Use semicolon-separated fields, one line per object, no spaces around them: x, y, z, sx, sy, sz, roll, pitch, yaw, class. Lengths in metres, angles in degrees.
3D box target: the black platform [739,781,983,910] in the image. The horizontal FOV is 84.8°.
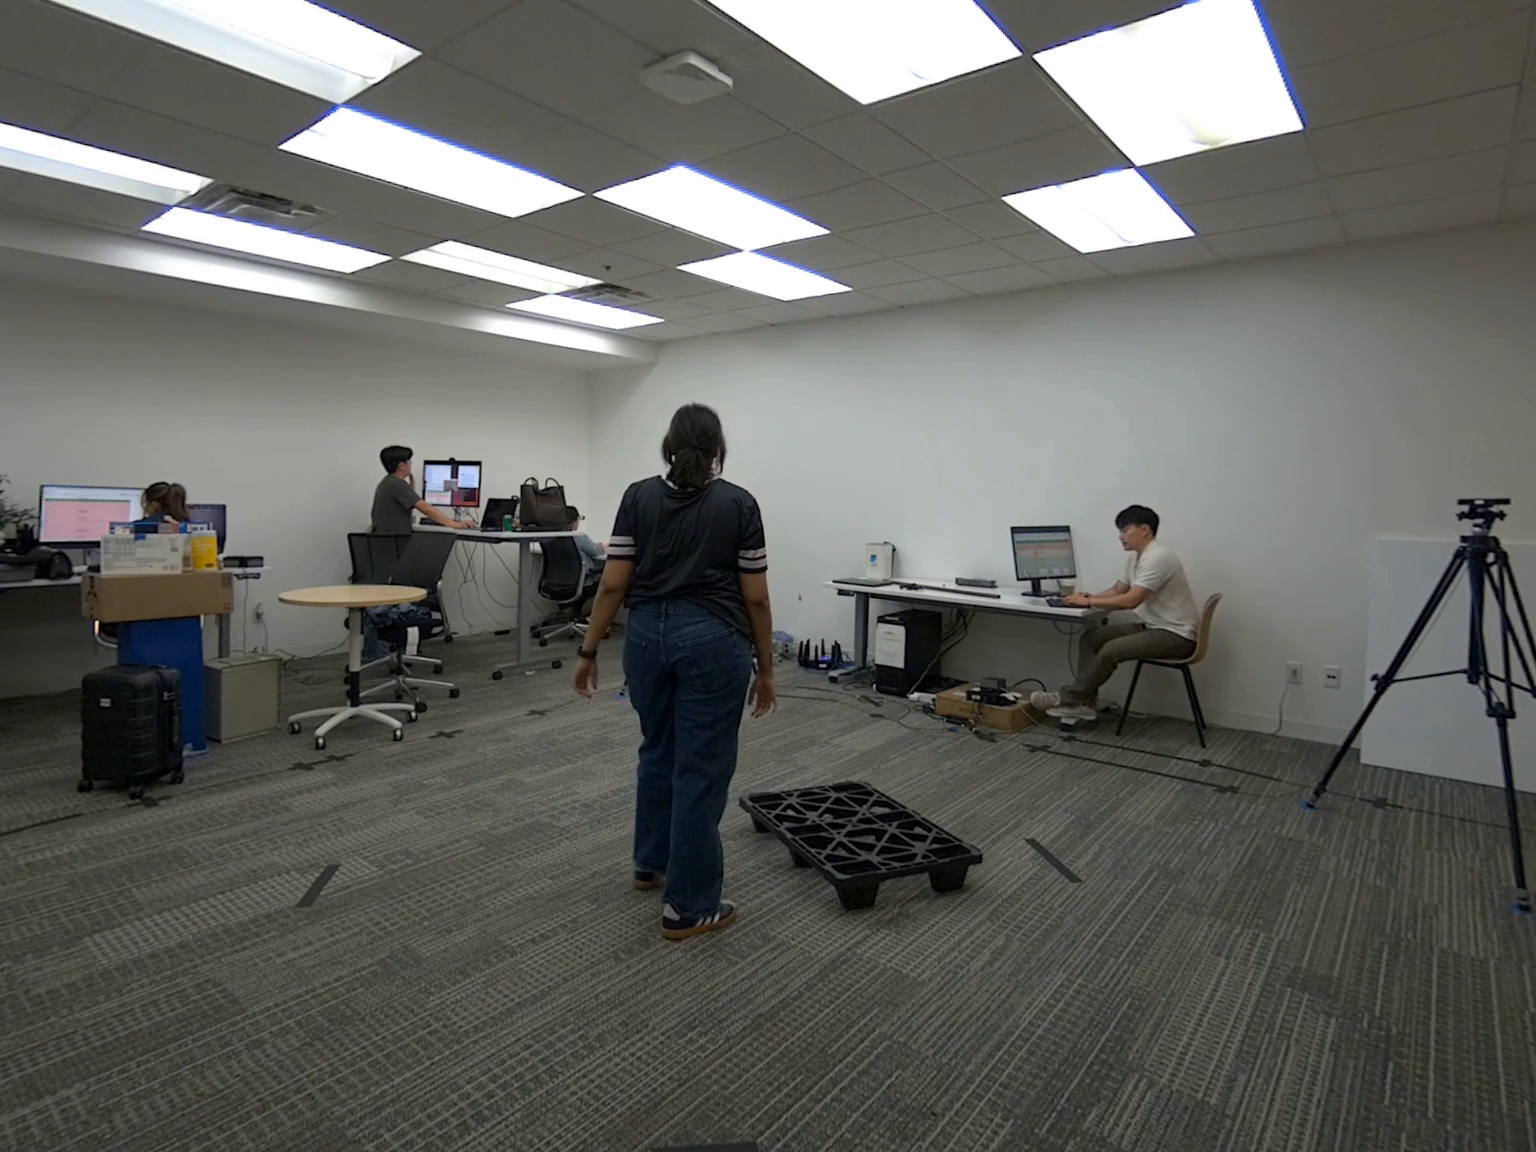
0.307;0.999;3.239;0.591;0.143;0.828;-2;6;-25;black platform
